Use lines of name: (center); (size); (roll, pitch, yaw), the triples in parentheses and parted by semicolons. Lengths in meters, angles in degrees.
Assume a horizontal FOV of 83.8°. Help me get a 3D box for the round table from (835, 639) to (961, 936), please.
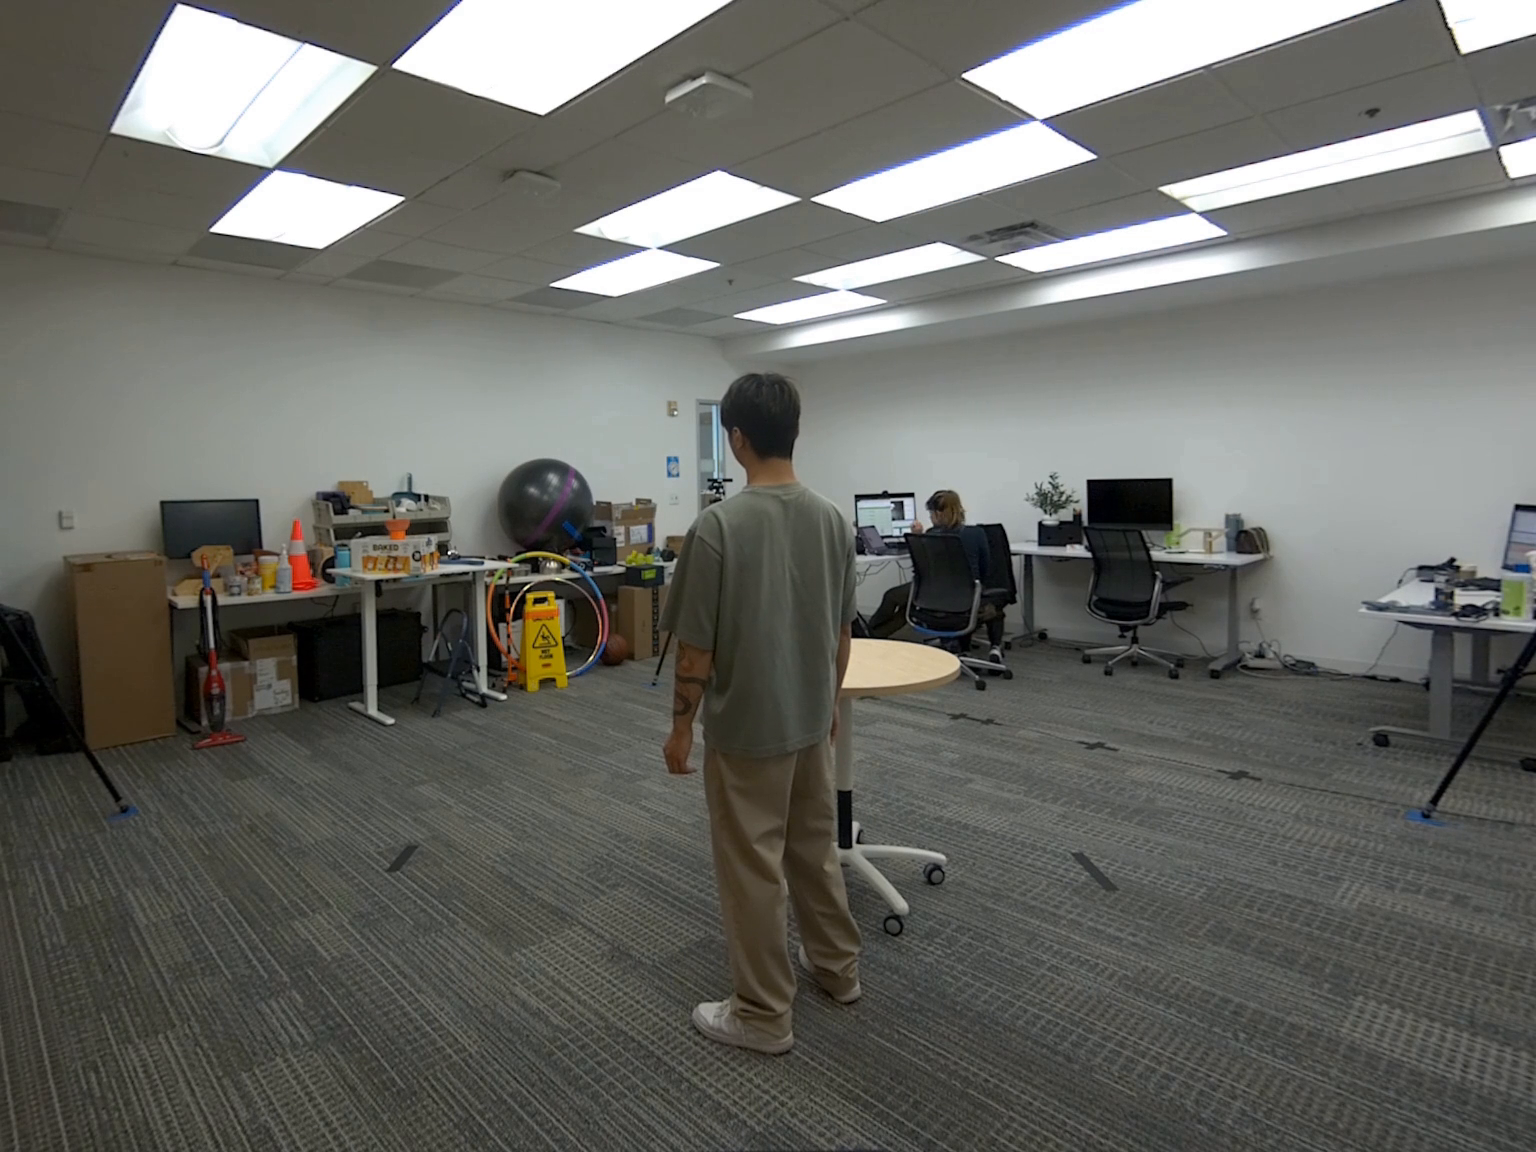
round table: (0.272, 0.677, 2.897); (0.763, 0.791, 0.768); (-1, 5, -2)
